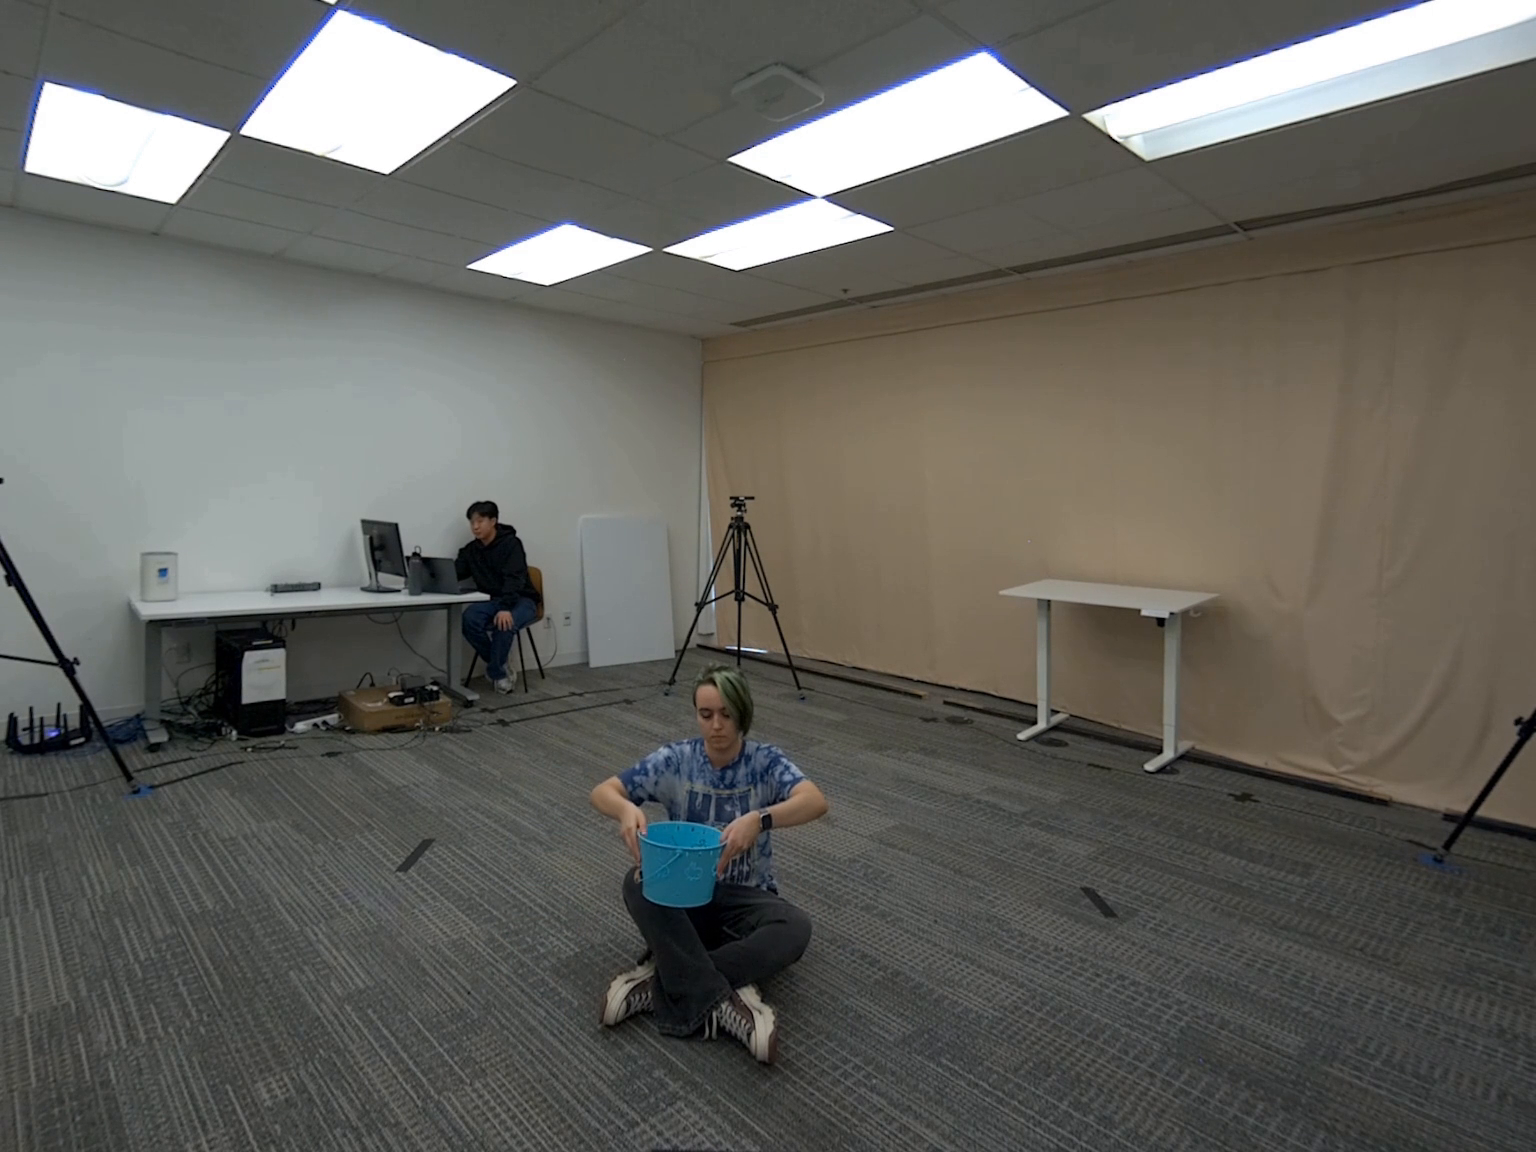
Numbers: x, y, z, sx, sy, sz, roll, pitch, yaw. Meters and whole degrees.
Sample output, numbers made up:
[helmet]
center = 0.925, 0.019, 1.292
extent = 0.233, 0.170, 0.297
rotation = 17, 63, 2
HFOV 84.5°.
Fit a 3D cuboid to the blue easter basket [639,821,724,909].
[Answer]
[blue easter basket]
center = -0.246, 0.751, 2.176
extent = 0.243, 0.156, 0.243
rotation = 5, -1, -1
